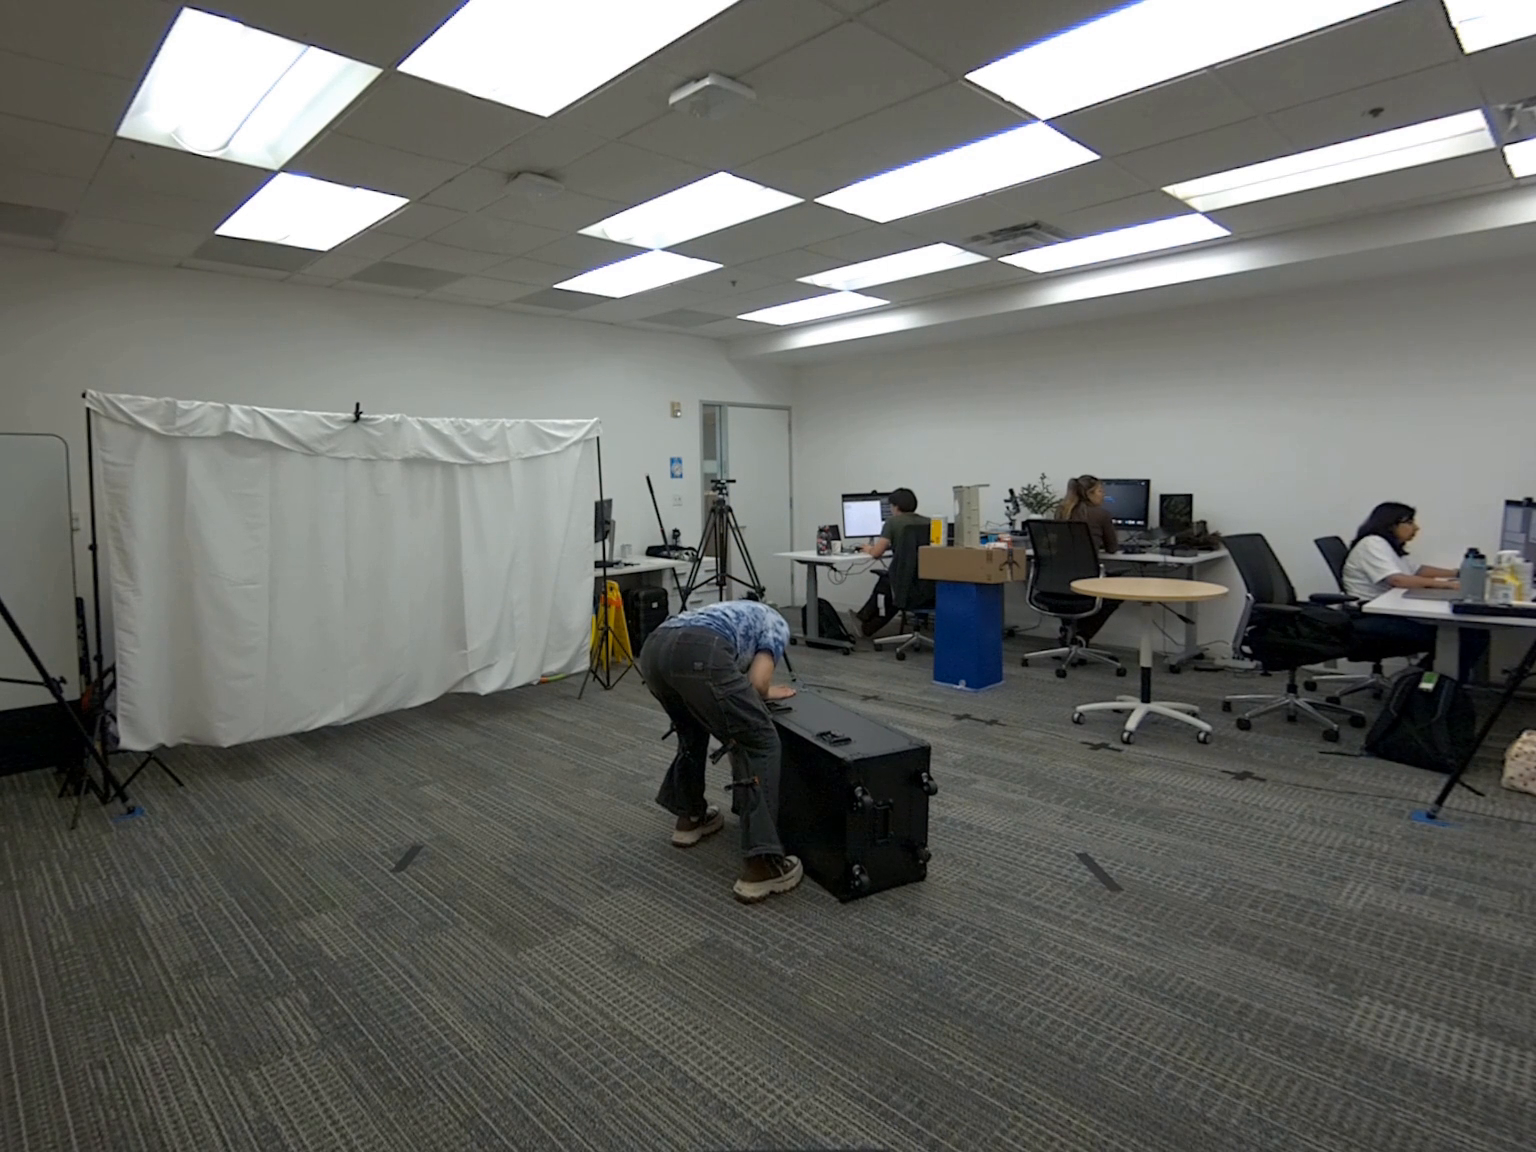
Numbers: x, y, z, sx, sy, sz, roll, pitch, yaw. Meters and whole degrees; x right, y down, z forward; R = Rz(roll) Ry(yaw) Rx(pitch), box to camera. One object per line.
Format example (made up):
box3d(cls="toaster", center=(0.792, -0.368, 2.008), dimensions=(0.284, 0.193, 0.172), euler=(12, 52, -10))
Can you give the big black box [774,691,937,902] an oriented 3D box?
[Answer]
box3d(cls="big black box", center=(0.237, 0.770, 3.173), dimensions=(0.387, 0.518, 0.886), euler=(-3, 9, -28))
